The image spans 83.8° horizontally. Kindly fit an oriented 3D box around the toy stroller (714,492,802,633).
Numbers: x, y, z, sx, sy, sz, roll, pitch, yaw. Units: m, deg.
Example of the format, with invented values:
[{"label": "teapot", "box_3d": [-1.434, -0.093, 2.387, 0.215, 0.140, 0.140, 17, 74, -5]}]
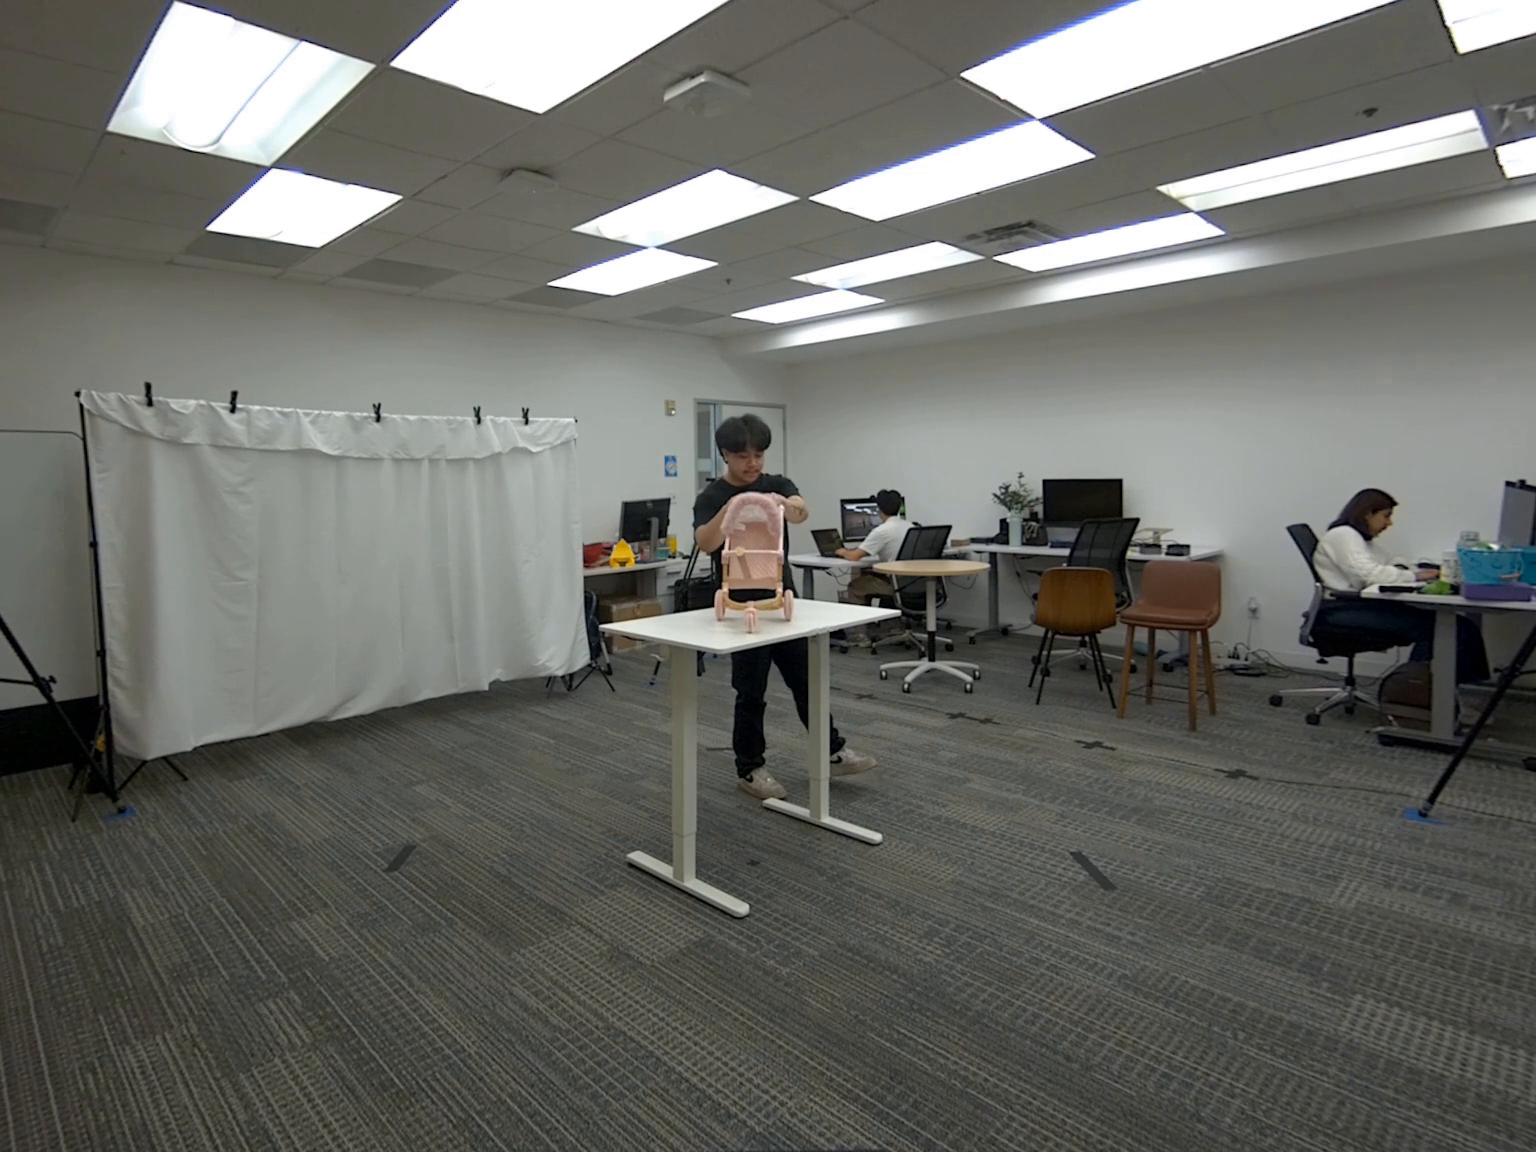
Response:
[{"label": "toy stroller", "box_3d": [-0.060, -0.052, 3.019, 0.283, 0.541, 0.335, -1, -11, 6]}]
